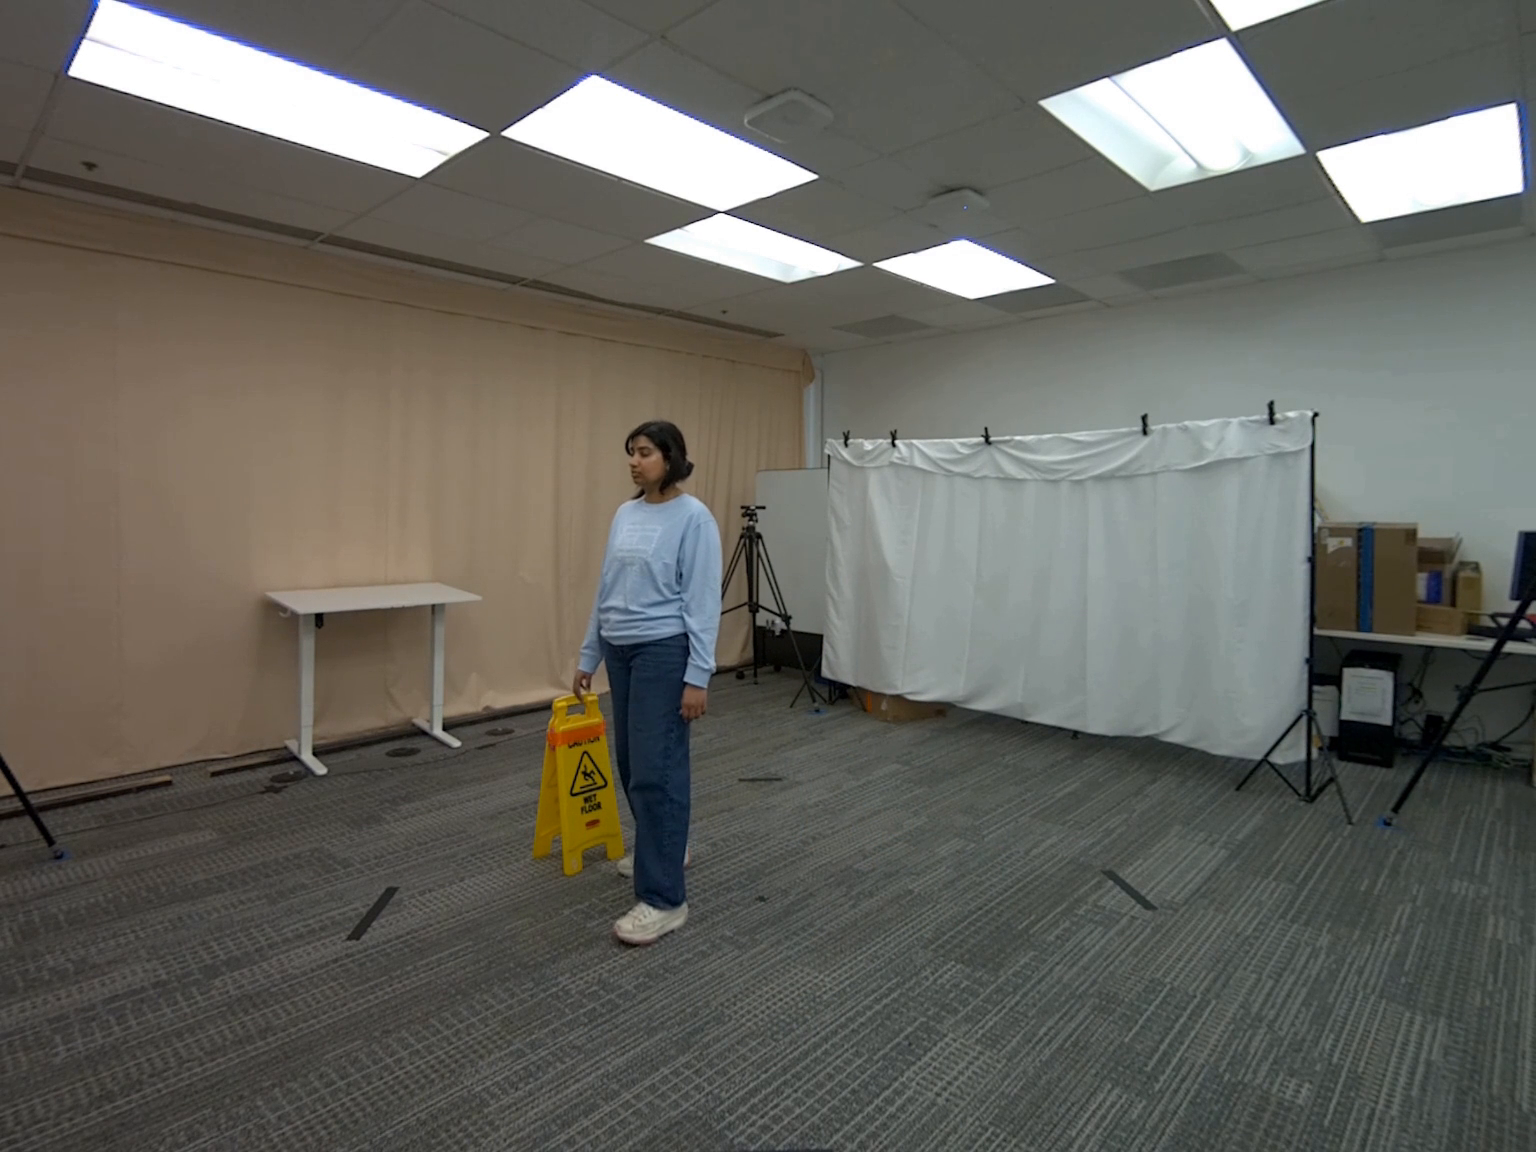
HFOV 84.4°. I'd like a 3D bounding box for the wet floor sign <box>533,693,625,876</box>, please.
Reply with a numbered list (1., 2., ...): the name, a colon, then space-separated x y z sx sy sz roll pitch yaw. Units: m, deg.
1. wet floor sign: -0.762 0.798 3.338 0.299 0.645 0.273 2 3 43
